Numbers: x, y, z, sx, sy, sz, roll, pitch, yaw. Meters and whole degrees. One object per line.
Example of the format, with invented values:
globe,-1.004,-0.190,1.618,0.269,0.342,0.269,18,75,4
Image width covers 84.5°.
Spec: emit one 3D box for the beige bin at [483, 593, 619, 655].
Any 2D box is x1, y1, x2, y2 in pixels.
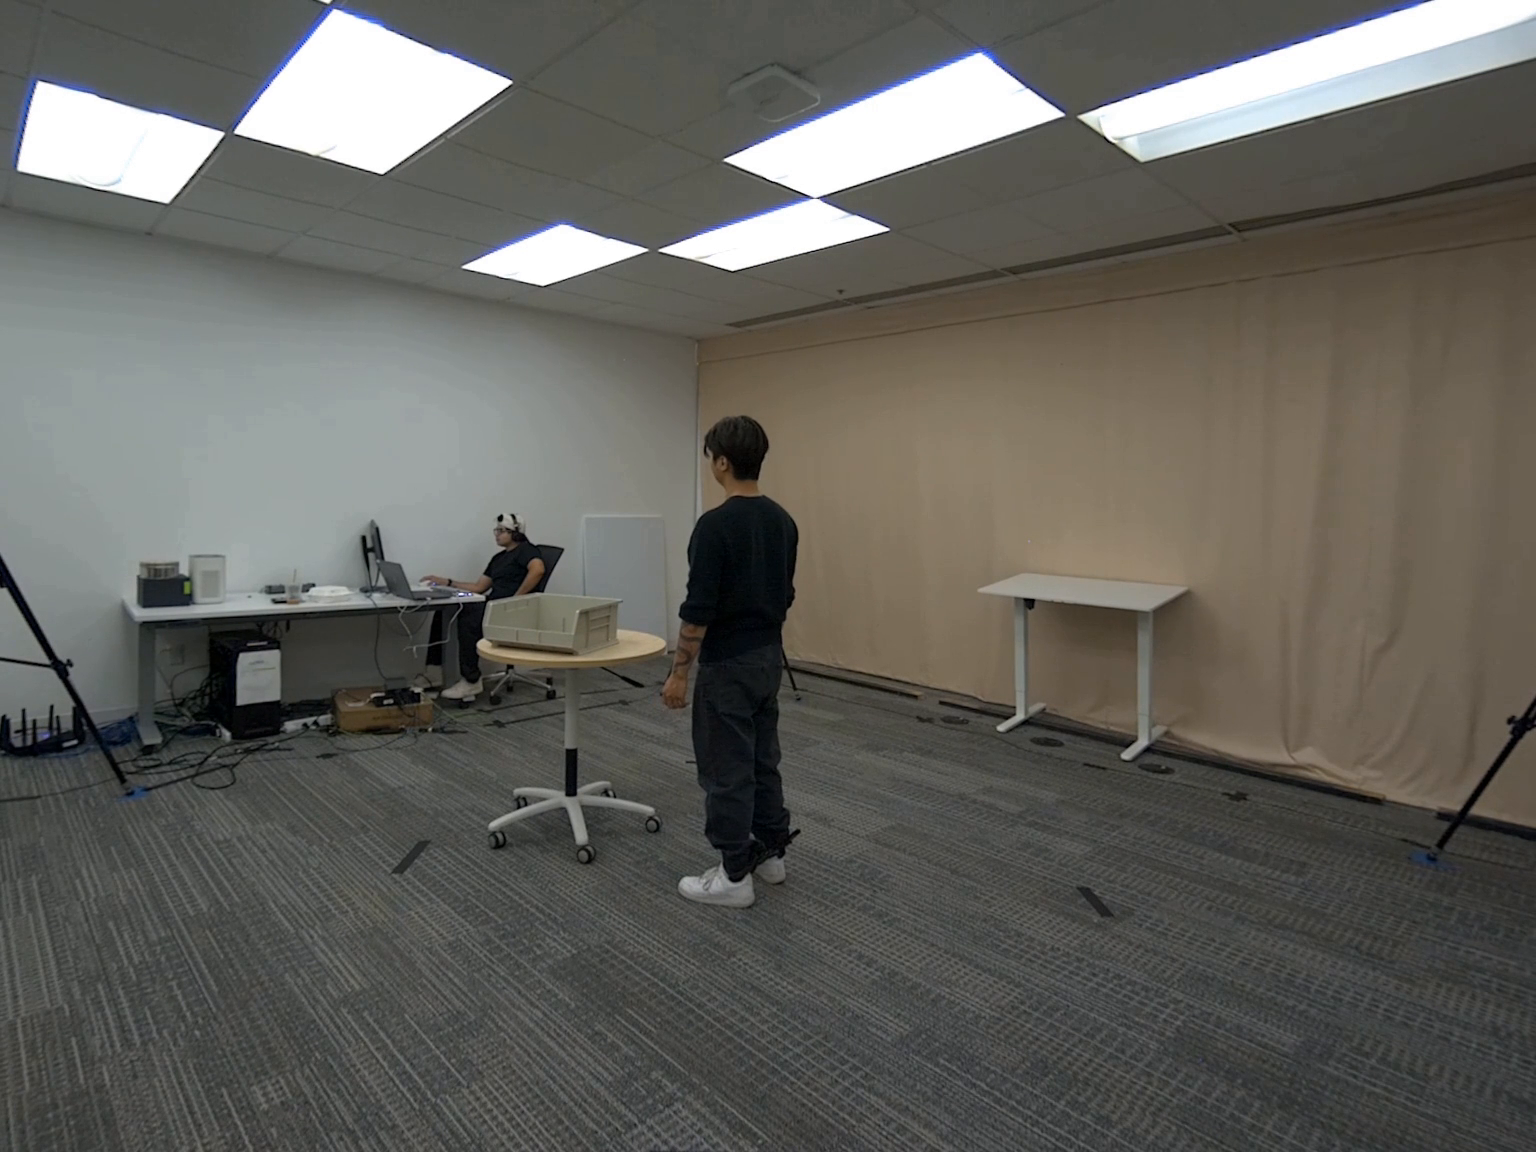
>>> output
beige bin,-0.872,0.194,3.405,0.429,0.188,0.372,3,4,20
